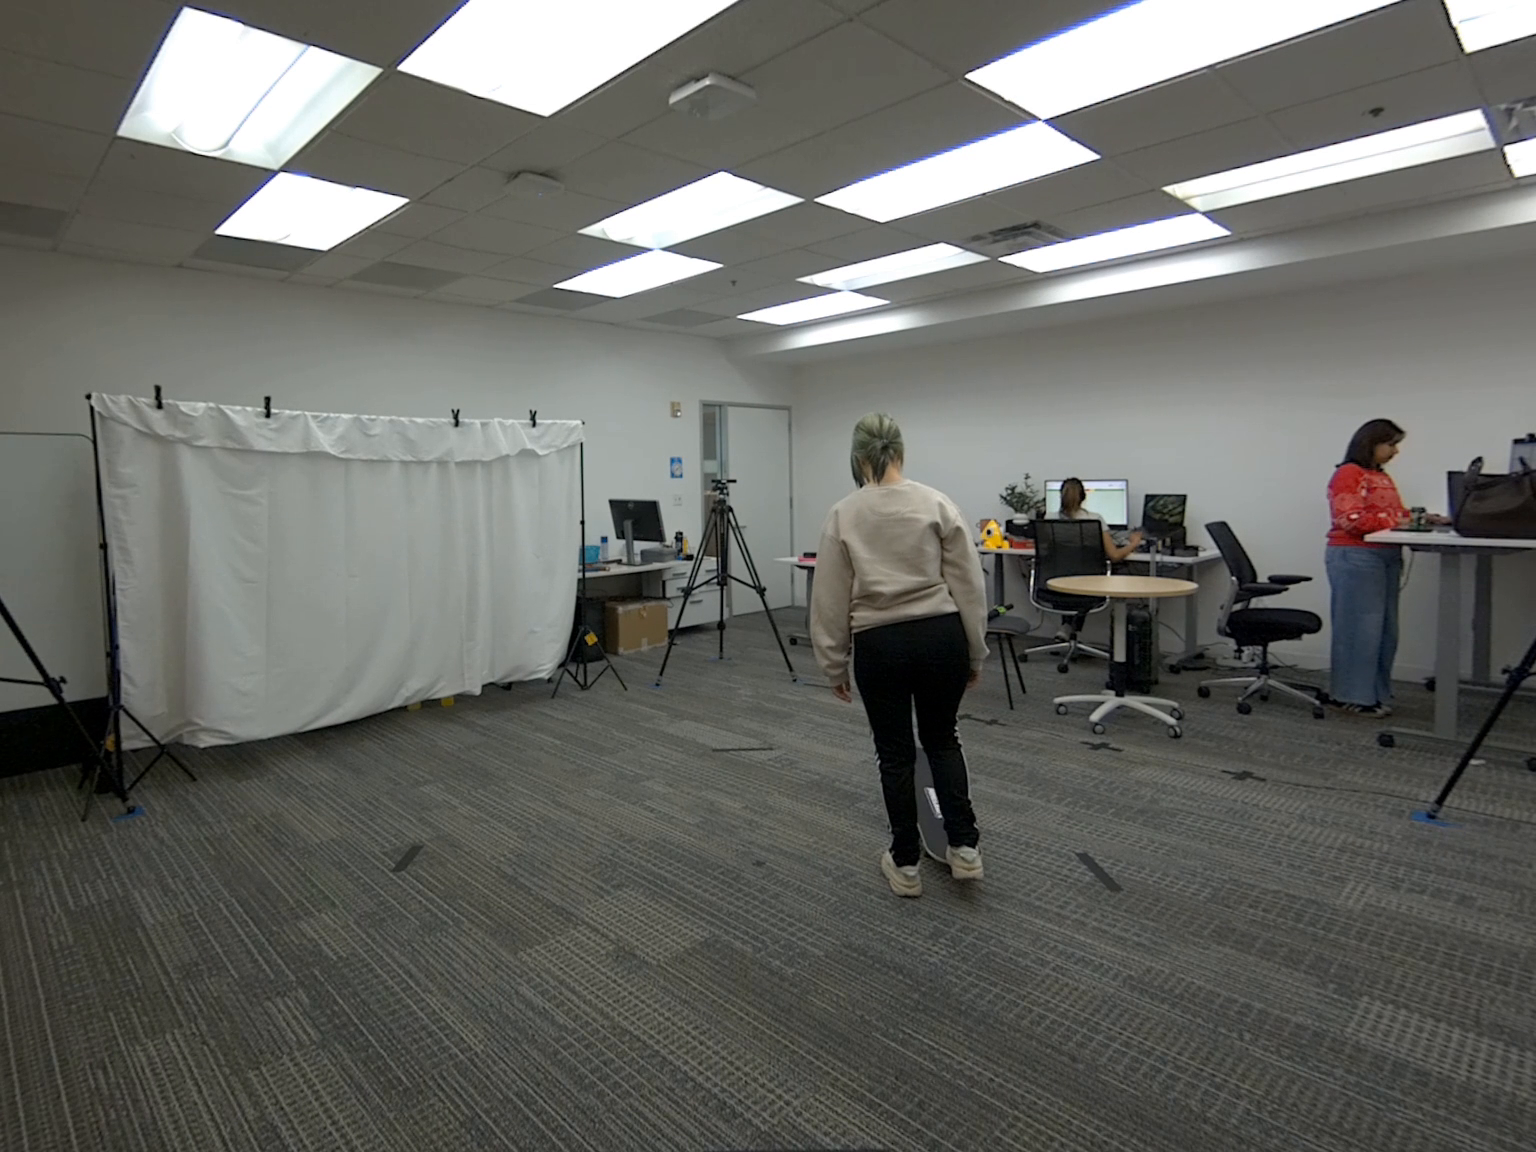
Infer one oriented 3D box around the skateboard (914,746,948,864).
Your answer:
[{"bbox_3d":[0.656,0.916,3.337,0.193,0.109,0.797,-1,18,-1],"label":"skateboard"}]
